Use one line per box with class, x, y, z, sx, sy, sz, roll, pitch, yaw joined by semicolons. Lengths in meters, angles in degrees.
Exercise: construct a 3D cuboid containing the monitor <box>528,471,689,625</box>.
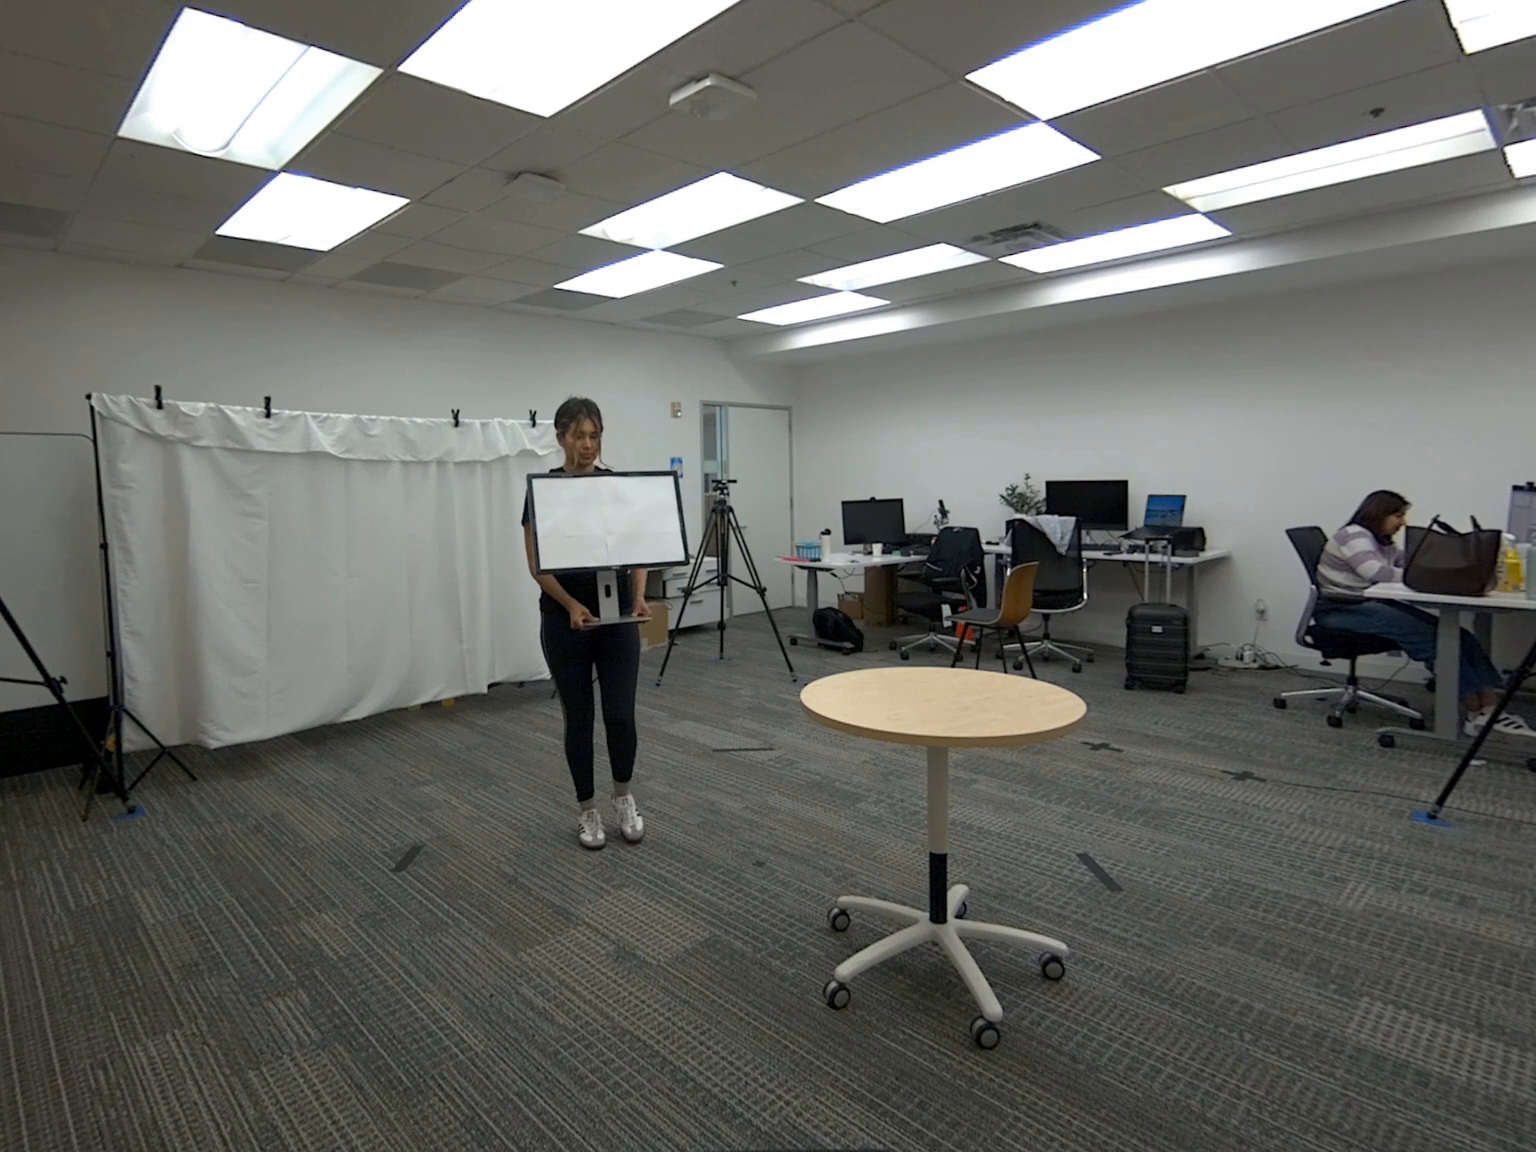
monitor;-0.575;-0.104;3.083;0.528;0.524;0.190;-4;-2;-24
